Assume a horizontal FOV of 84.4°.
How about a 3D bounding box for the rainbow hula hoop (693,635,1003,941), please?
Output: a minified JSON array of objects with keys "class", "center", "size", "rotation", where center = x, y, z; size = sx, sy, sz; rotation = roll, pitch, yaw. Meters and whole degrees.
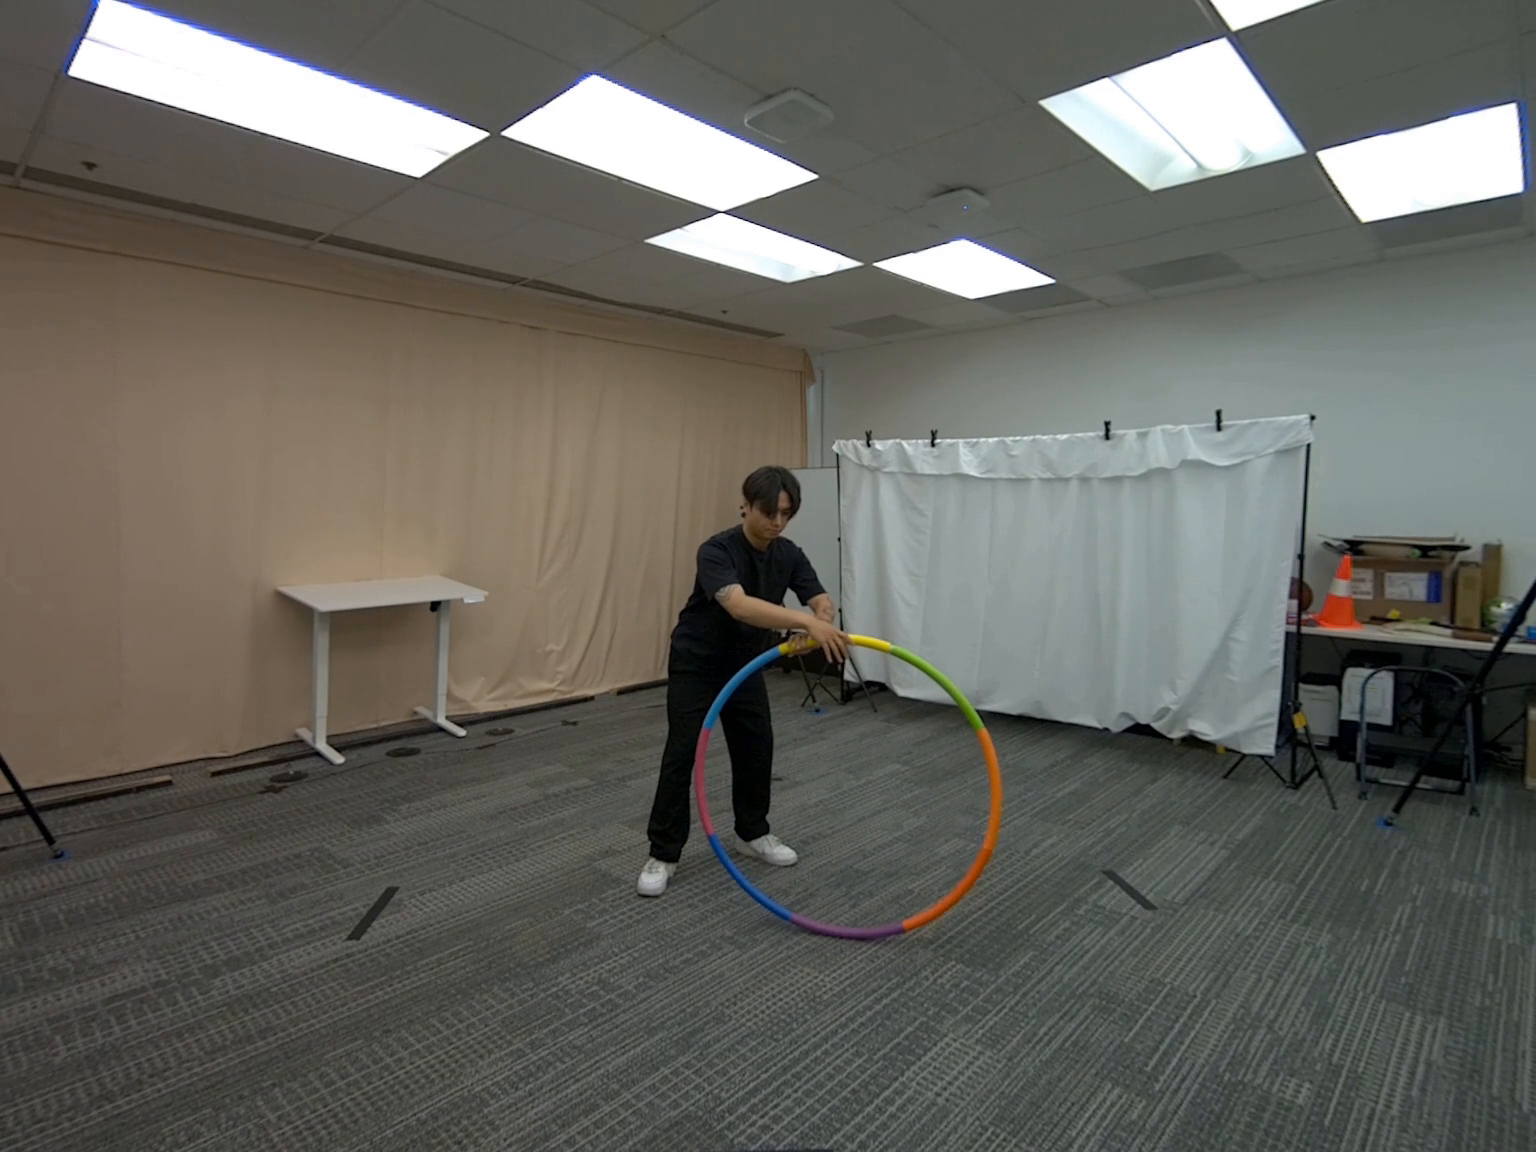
[{"class":"rainbow hula hoop","center":[0.250,0.687,2.738],"size":[0.994,0.980,0.035],"rotation":[1,-3,14]}]
